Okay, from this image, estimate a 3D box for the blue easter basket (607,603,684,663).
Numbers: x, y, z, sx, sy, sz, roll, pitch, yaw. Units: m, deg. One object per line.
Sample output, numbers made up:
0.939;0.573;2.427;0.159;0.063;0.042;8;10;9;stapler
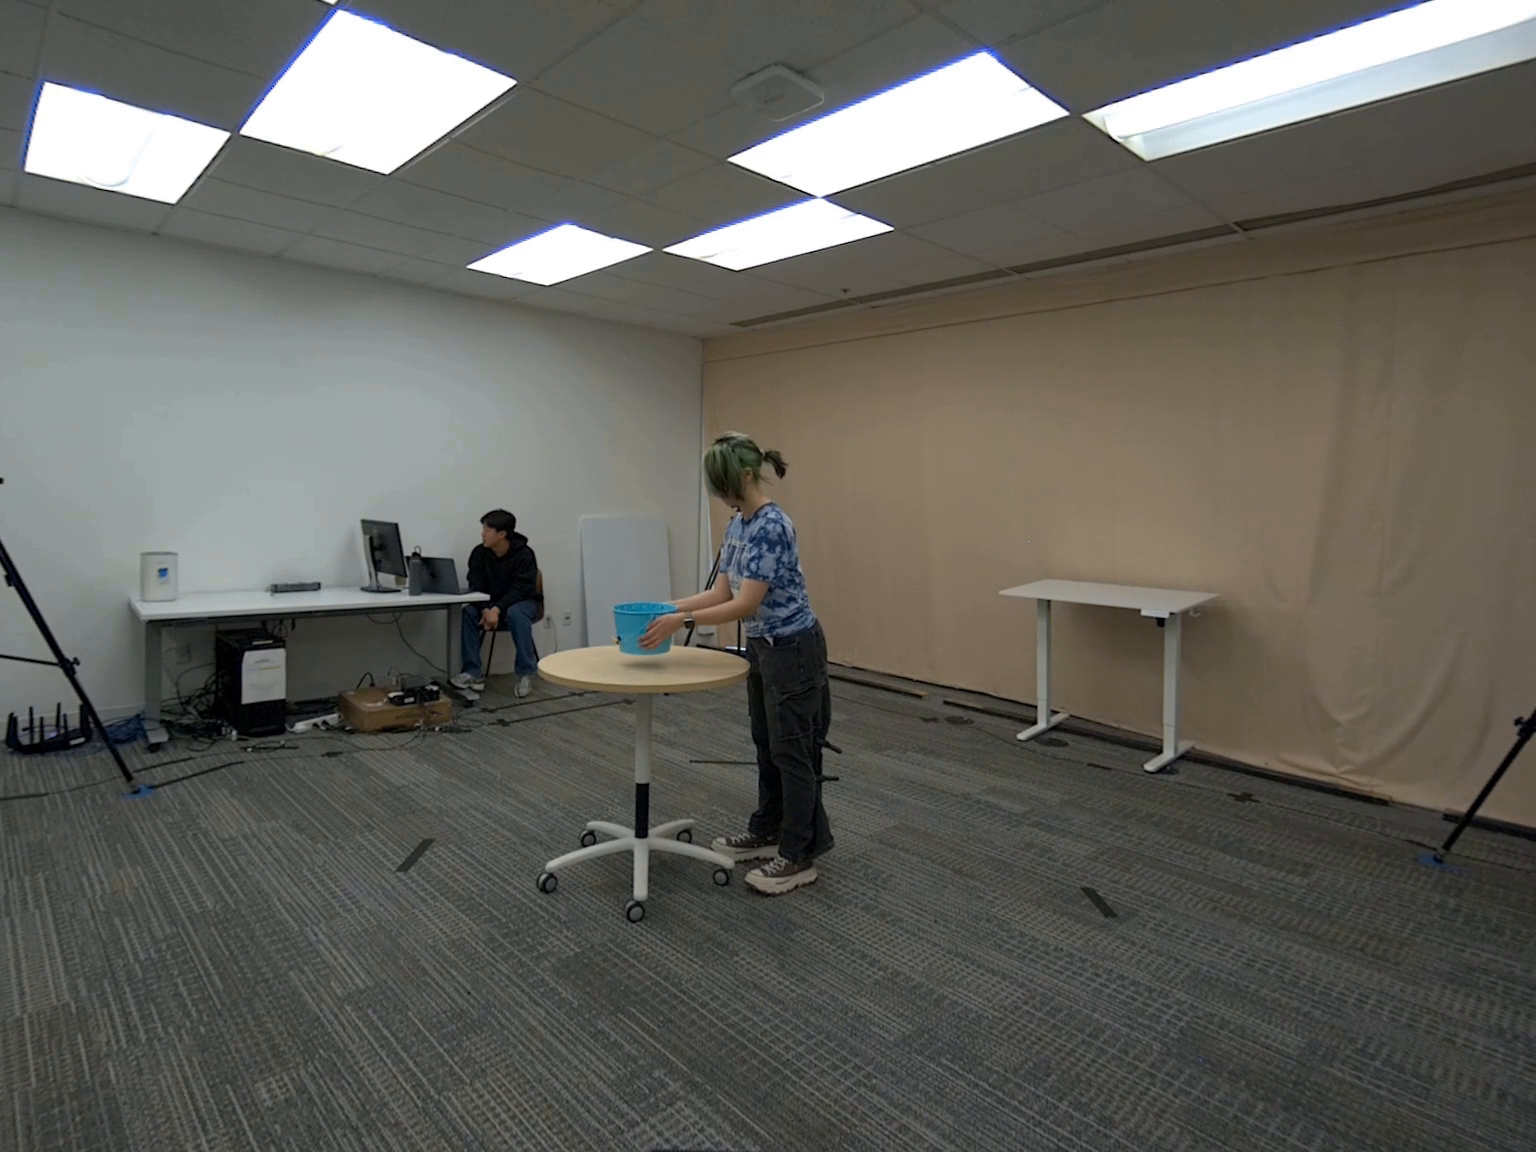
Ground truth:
-0.428;0.194;2.977;0.243;0.155;0.245;1;7;-1;blue easter basket
